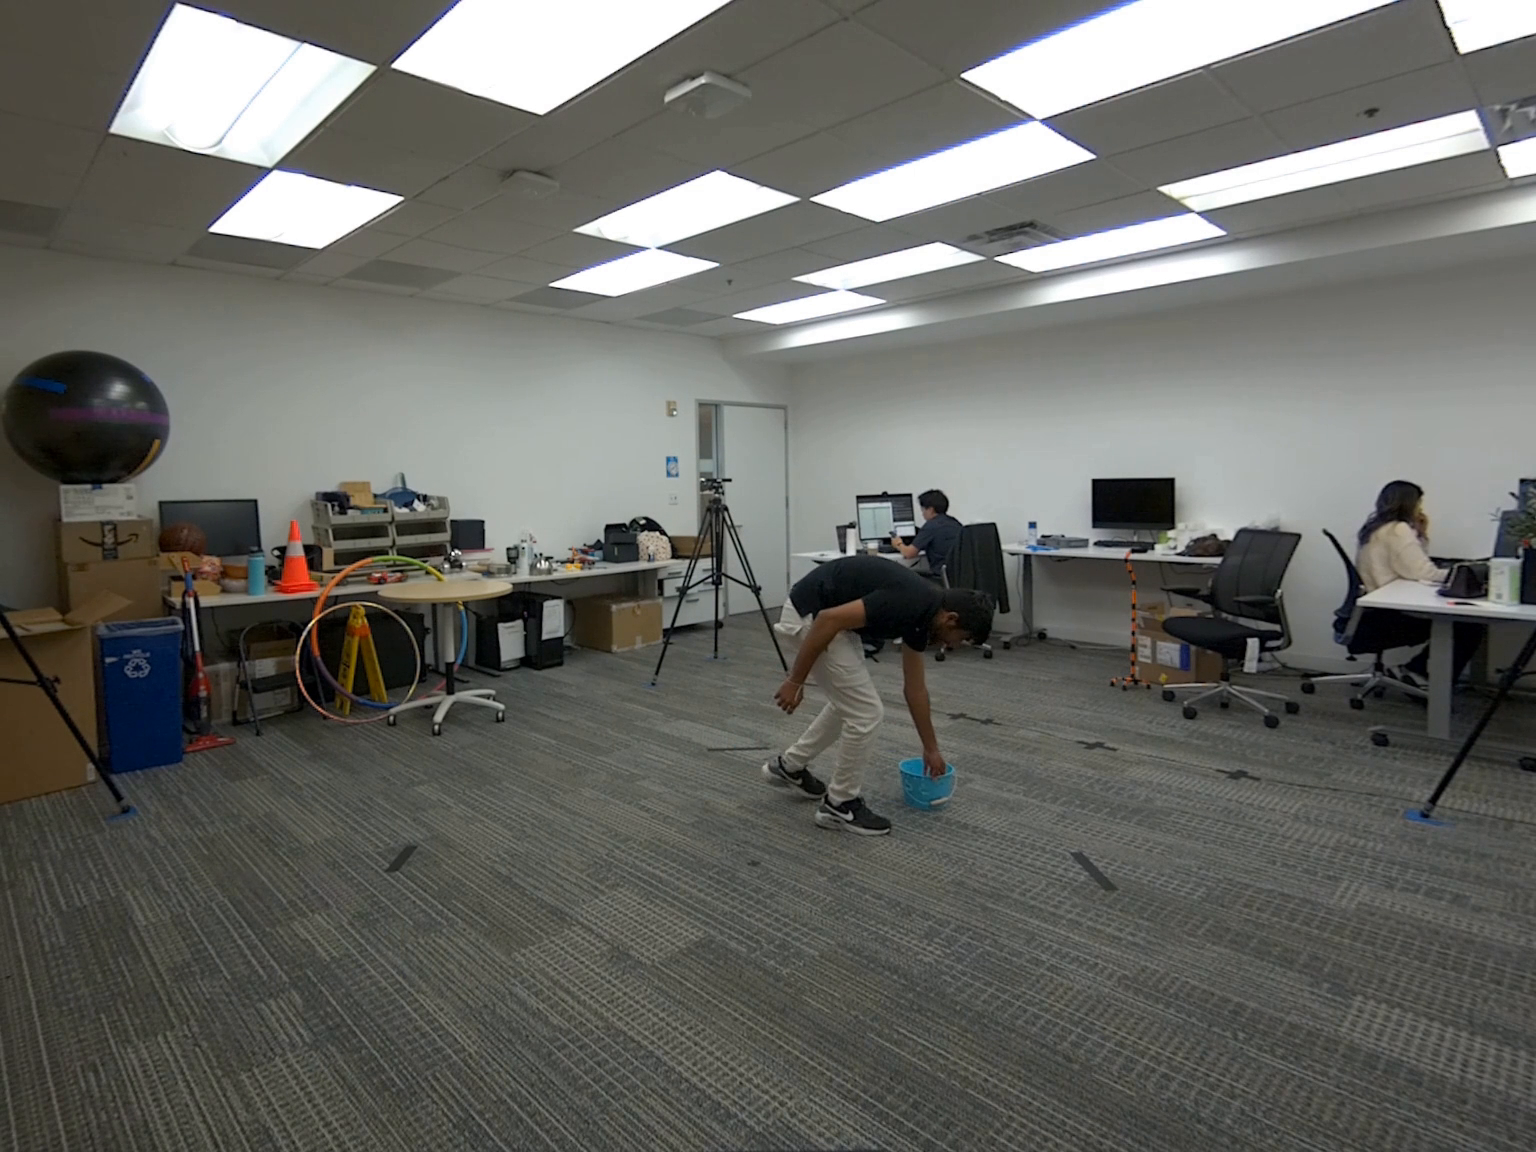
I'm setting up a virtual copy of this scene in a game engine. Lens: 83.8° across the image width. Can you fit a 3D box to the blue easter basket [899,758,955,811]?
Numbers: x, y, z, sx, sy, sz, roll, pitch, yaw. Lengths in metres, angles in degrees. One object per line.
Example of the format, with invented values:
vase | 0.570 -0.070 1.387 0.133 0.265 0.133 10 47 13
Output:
blue easter basket | 0.671 0.891 3.658 0.243 0.155 0.245 -1 5 -2
